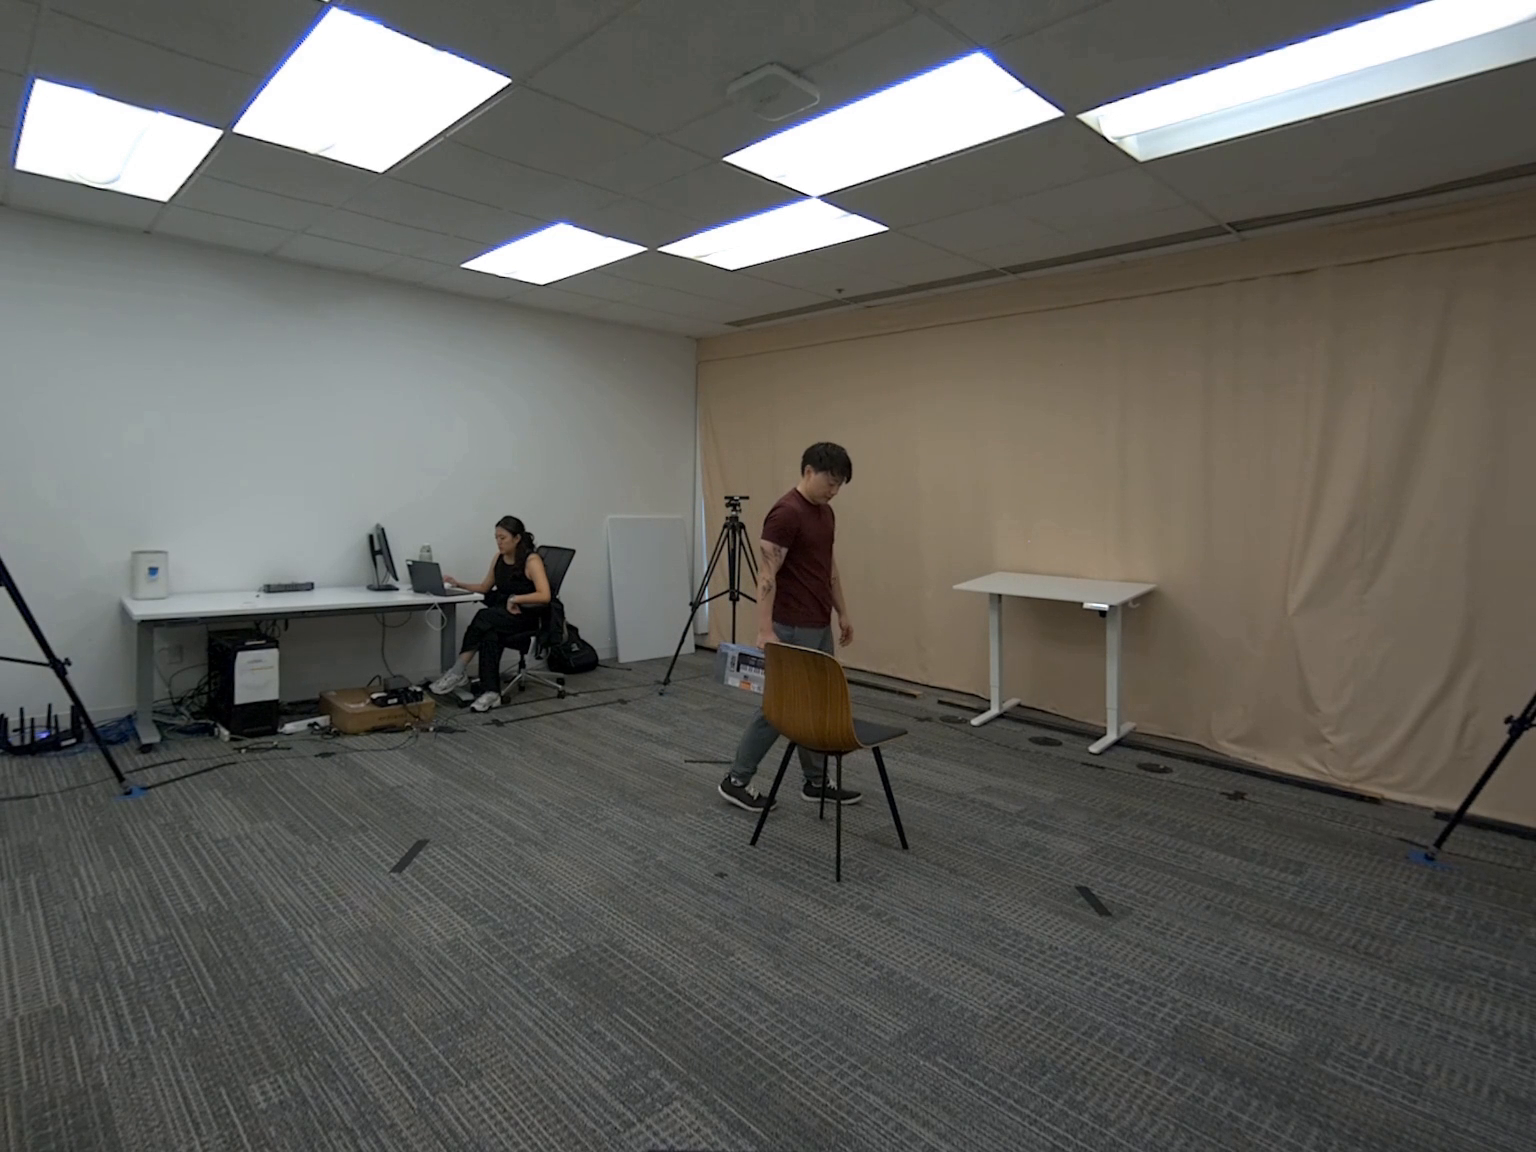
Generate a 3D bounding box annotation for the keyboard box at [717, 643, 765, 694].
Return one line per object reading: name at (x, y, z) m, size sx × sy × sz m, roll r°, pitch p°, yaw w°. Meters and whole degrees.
keyboard box at (-0.024, 0.417, 3.593) m, size 0.446 × 0.175 × 0.058 m, roll 11°, pitch 5°, yaw 26°
